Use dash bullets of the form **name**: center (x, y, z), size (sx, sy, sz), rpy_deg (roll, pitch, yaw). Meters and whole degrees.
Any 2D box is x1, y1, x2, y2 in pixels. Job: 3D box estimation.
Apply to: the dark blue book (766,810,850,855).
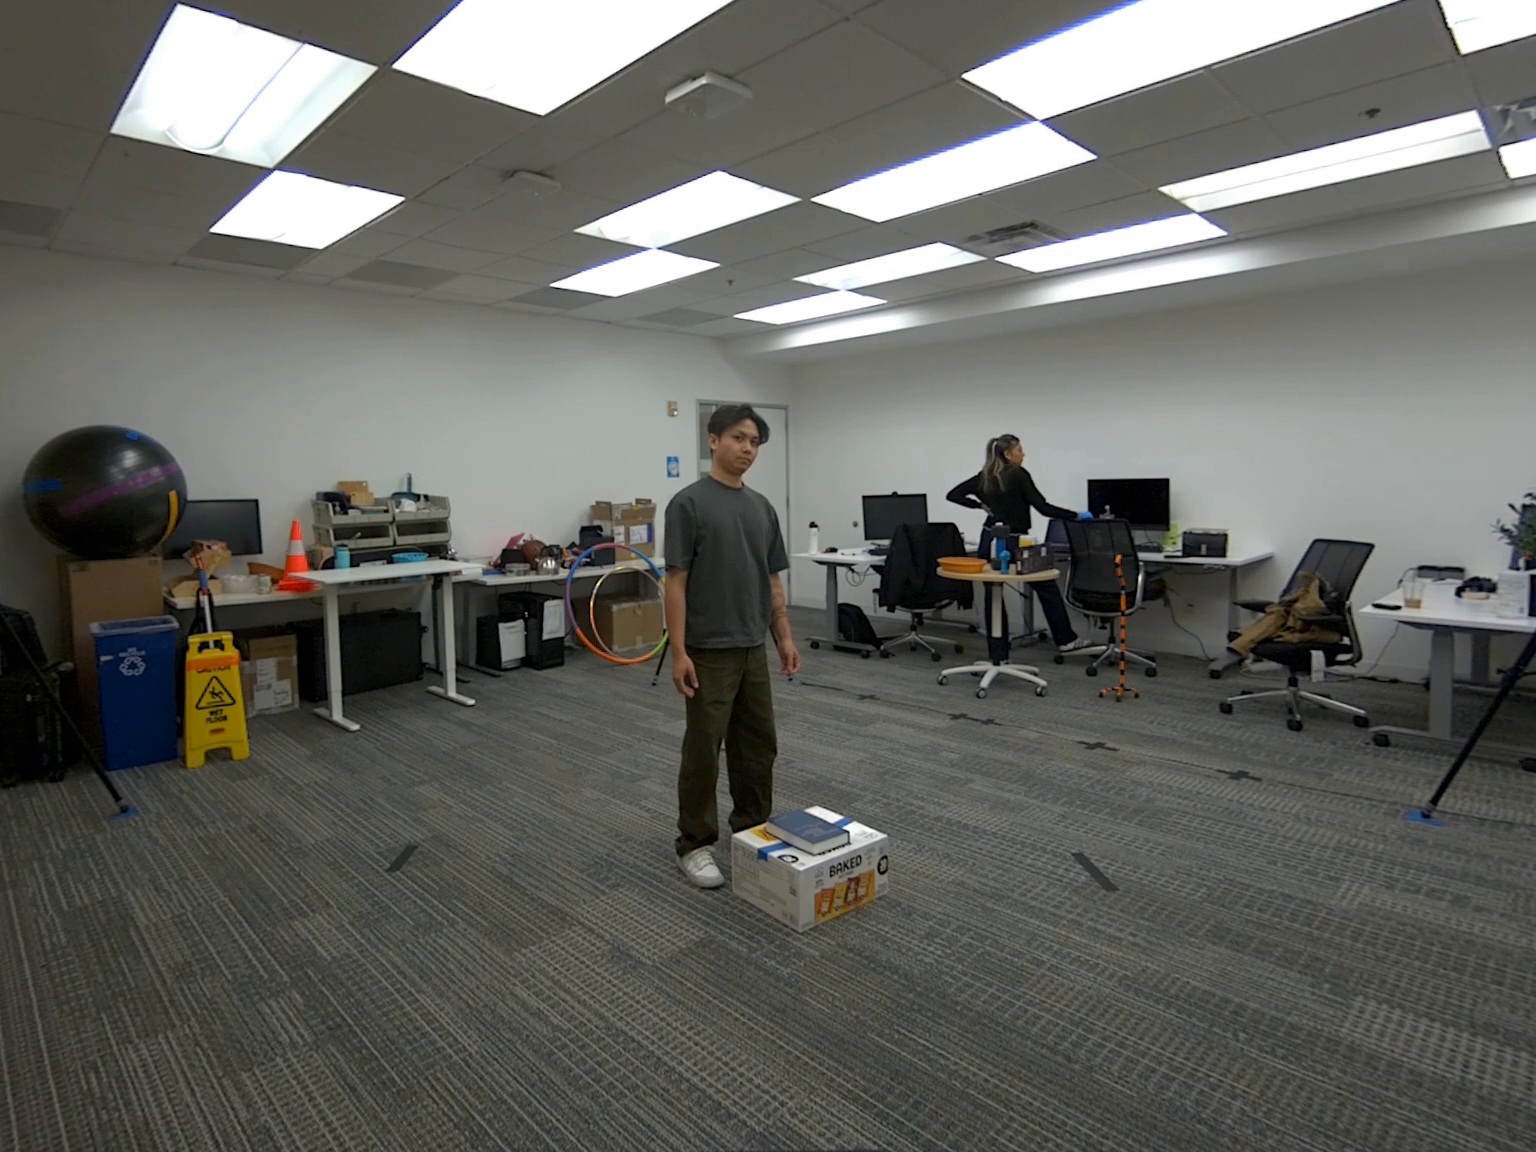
- **dark blue book**: center (0.132, 0.856, 2.851), size (0.159, 0.045, 0.253), rpy_deg (-6, 8, -38)
